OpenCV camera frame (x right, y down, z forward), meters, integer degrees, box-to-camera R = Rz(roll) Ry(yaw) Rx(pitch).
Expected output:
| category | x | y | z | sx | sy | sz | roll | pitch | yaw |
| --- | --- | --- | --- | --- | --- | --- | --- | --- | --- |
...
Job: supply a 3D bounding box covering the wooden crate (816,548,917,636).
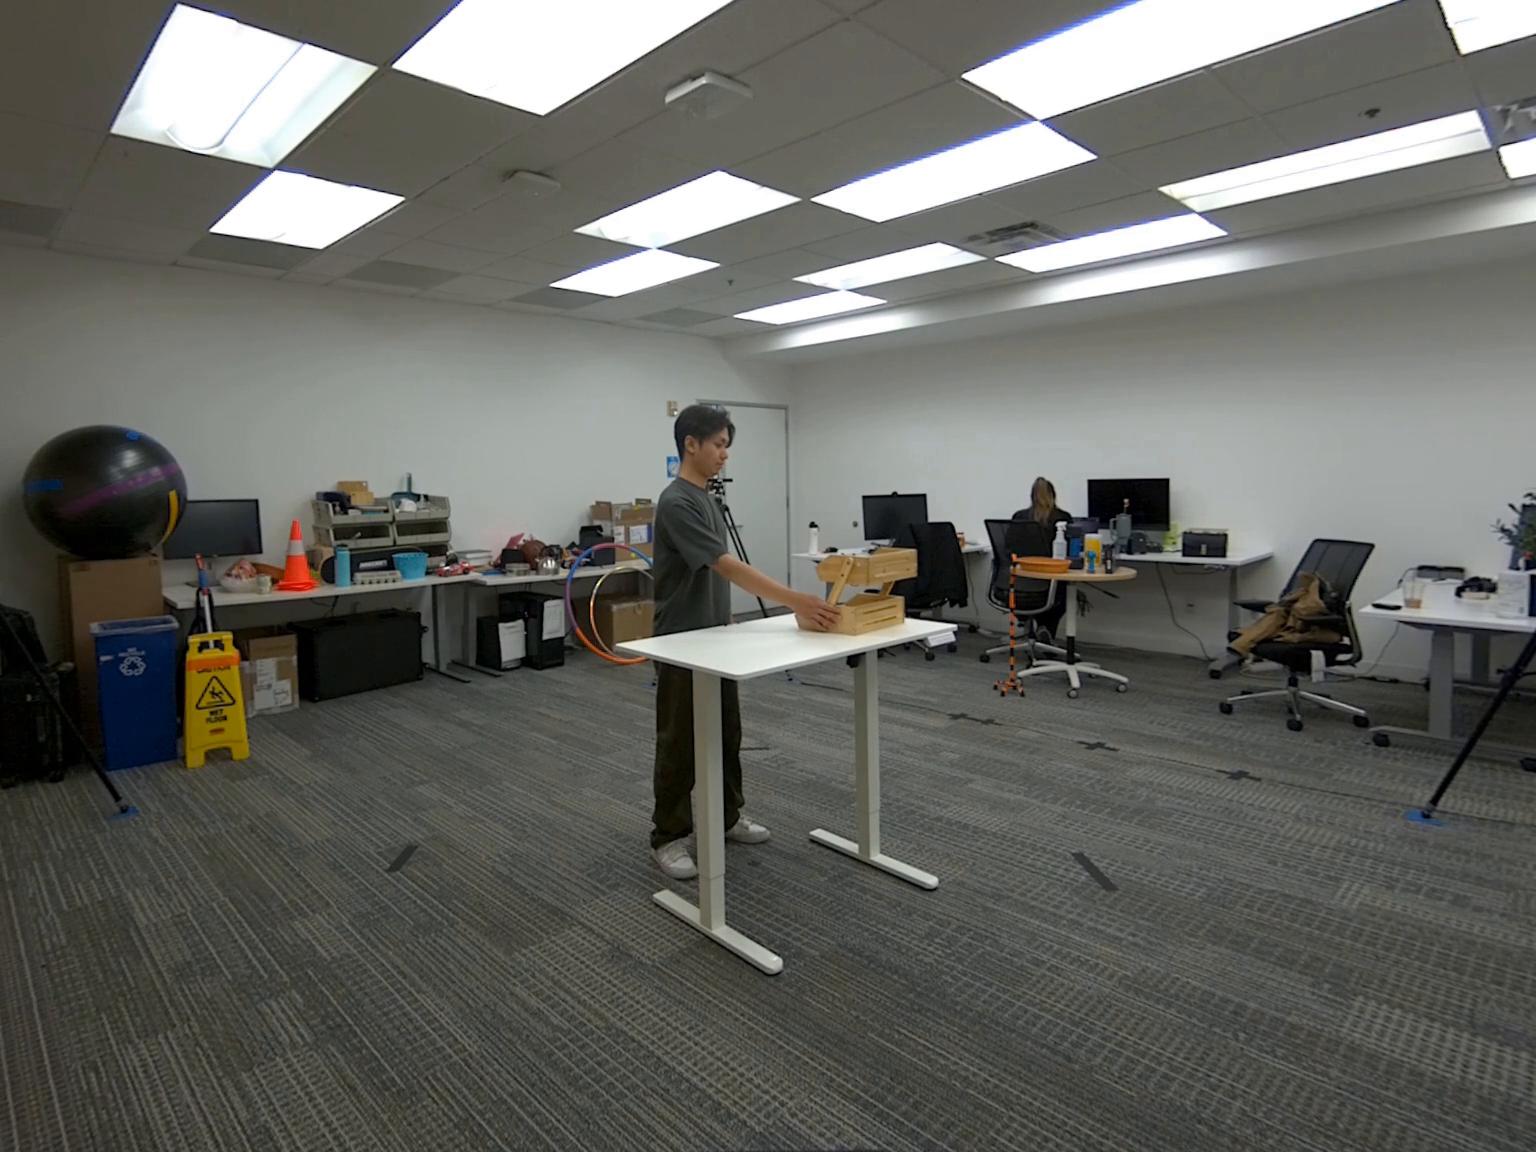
| category | x | y | z | sx | sy | sz | roll | pitch | yaw |
| --- | --- | --- | --- | --- | --- | --- | --- | --- | --- |
| wooden crate | 0.301 | 0.040 | 2.931 | 0.311 | 0.272 | 0.316 | 5 | 9 | 42 |
